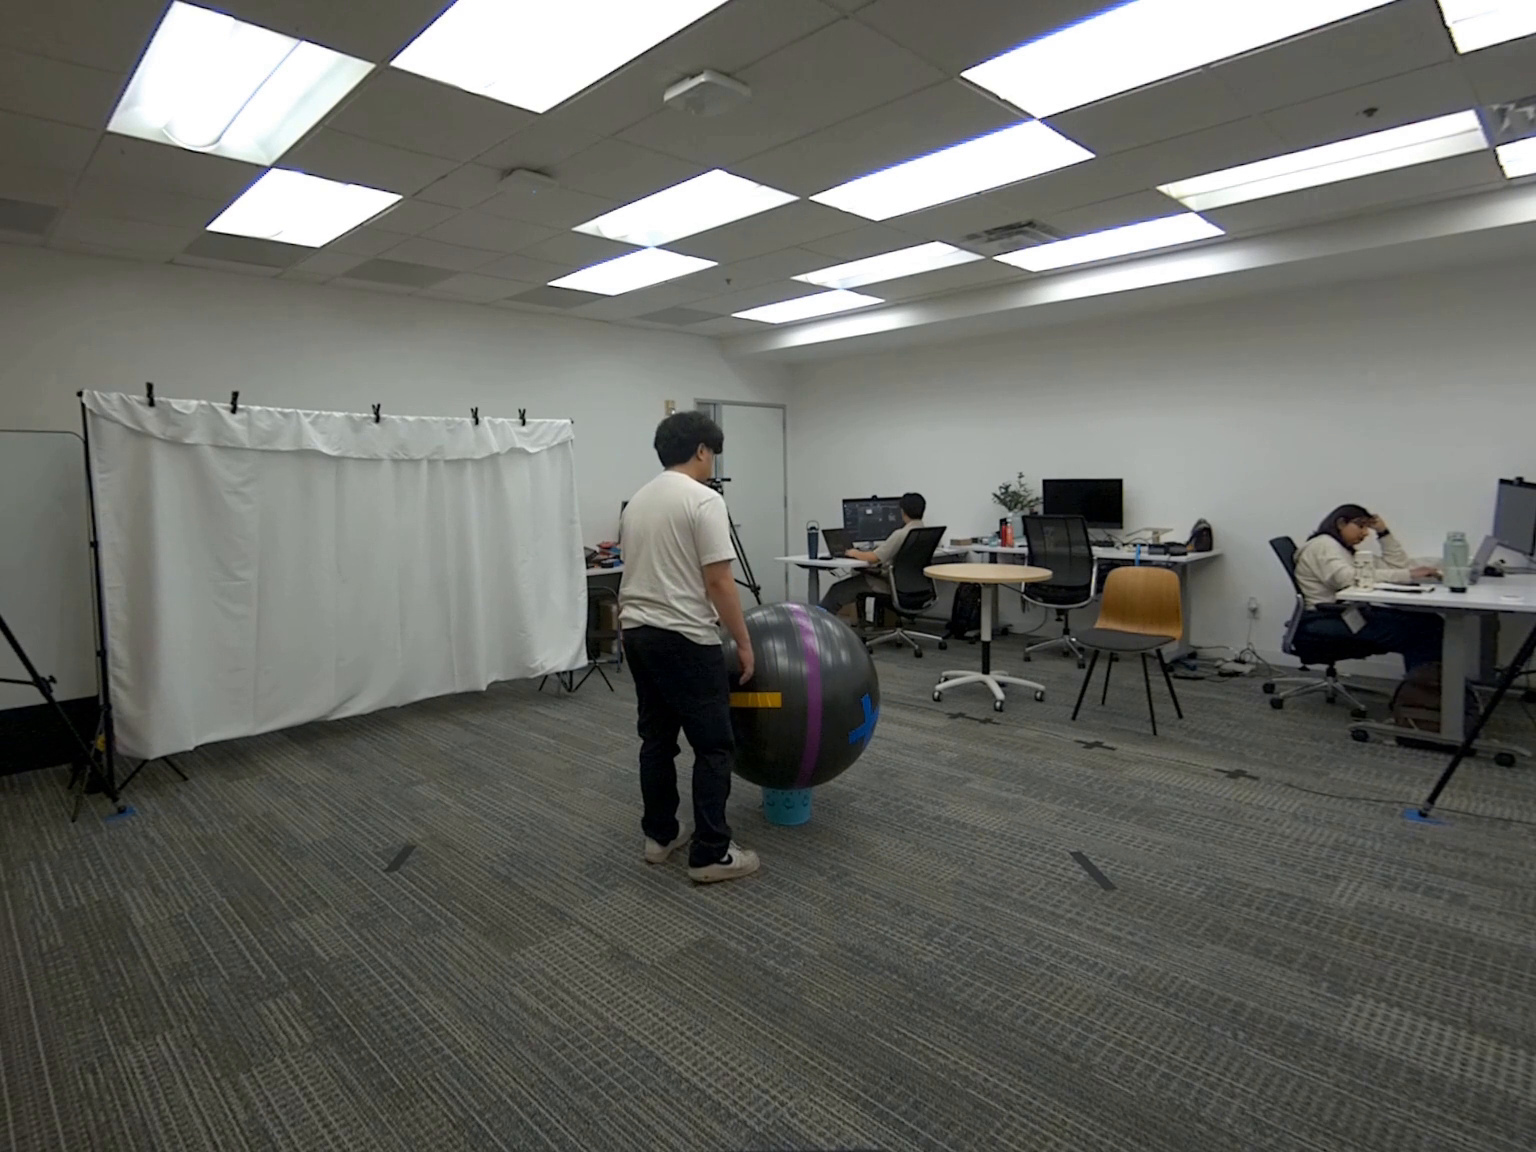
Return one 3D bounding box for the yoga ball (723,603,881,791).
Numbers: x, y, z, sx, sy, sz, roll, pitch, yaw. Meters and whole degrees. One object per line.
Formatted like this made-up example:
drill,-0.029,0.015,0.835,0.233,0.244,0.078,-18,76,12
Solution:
yoga ball,0.071,0.485,3.498,0.757,0.755,0.762,-1,5,-2
